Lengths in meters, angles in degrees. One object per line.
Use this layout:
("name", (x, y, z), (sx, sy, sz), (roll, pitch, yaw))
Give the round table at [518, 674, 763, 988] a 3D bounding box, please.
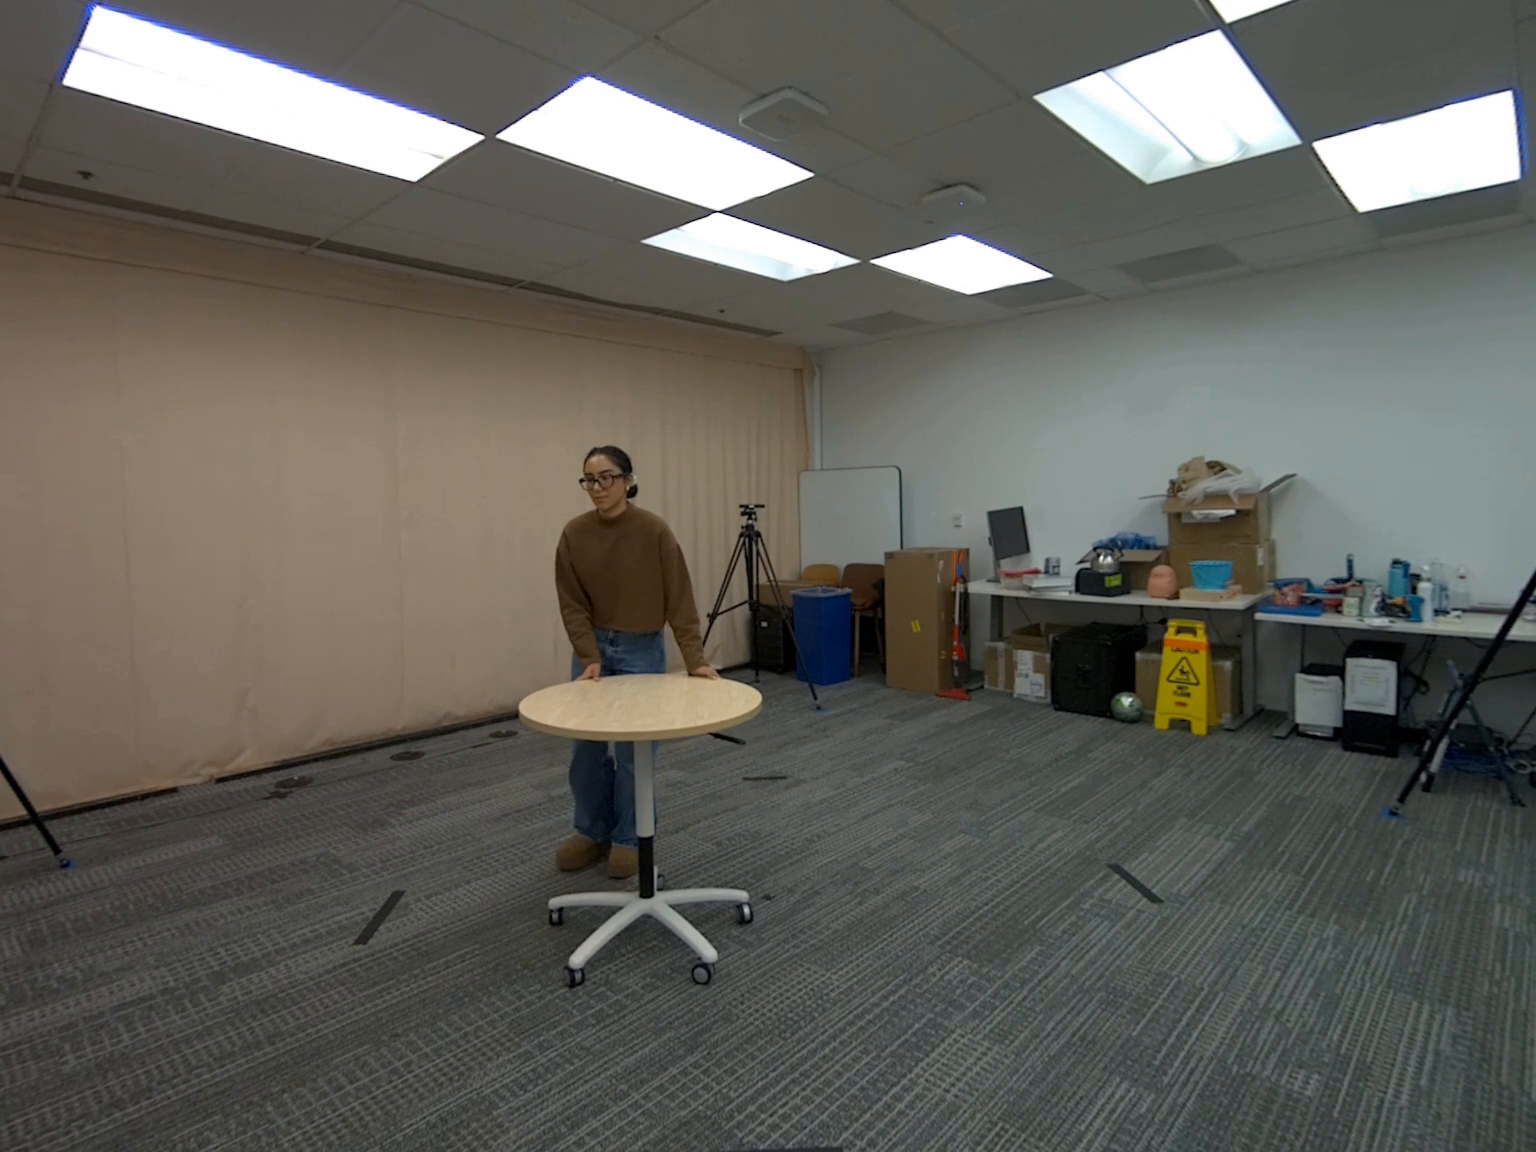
("round table", (-0.373, 0.778, 2.701), (0.784, 0.784, 0.788), (-2, 4, -2))
